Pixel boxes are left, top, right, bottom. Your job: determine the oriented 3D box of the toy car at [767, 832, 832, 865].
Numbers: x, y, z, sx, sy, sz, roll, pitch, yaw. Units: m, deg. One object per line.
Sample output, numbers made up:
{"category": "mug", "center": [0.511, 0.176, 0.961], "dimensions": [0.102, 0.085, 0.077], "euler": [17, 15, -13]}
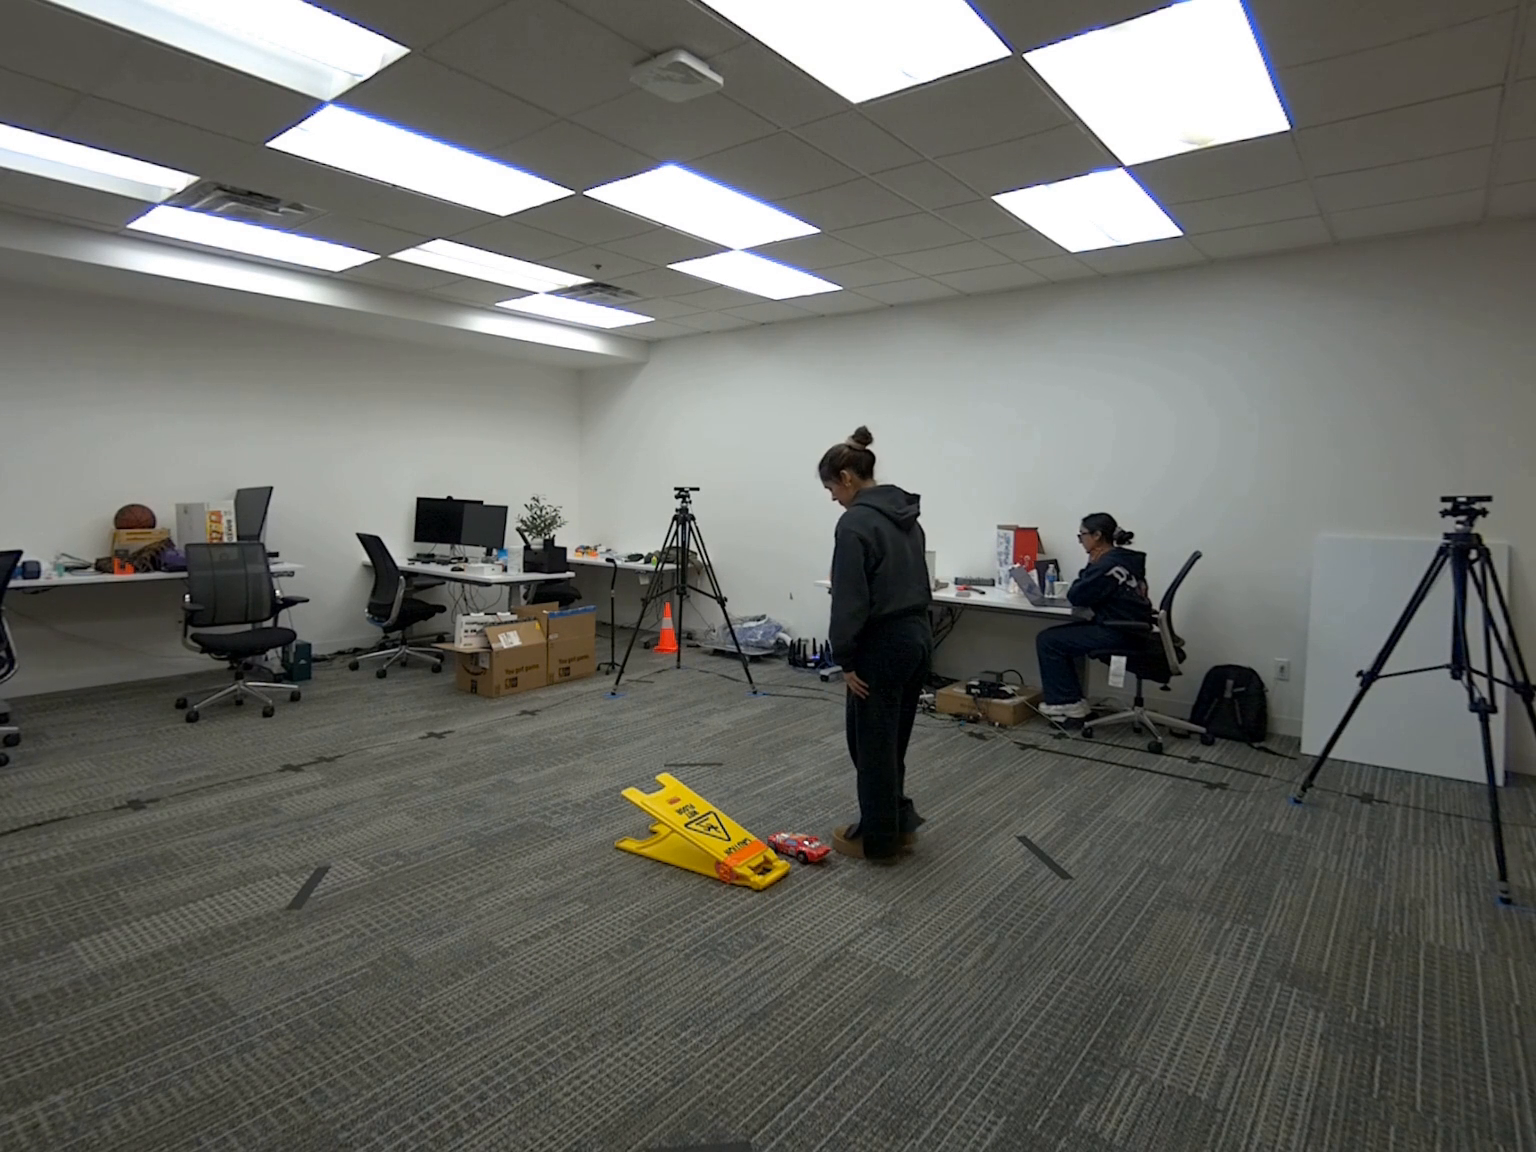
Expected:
{"category": "toy car", "center": [0.125, 1.030, 3.242], "dimensions": [0.261, 0.083, 0.126], "euler": [-8, -3, 42]}
